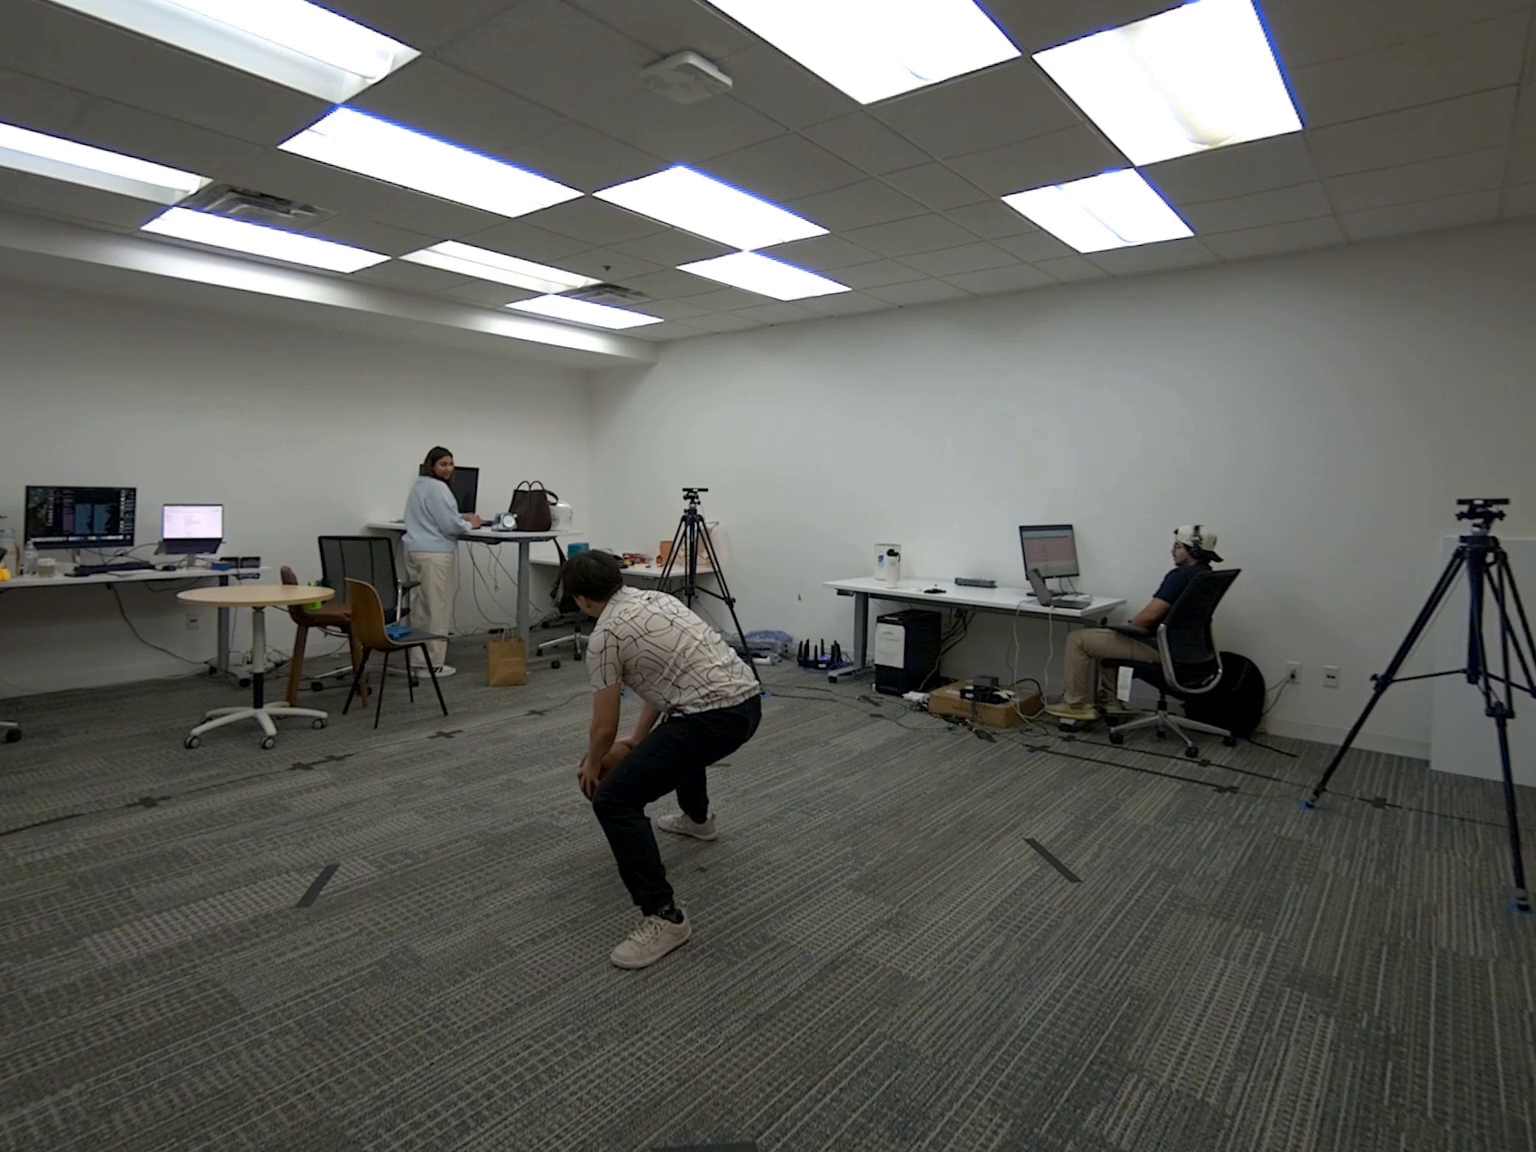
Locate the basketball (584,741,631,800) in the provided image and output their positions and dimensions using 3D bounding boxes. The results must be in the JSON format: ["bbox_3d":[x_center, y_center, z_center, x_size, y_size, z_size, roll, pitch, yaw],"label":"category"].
[{"bbox_3d":[-0.615,0.740,3.212,0.235,0.235,0.237,1,4,-2],"label":"basketball"}]
